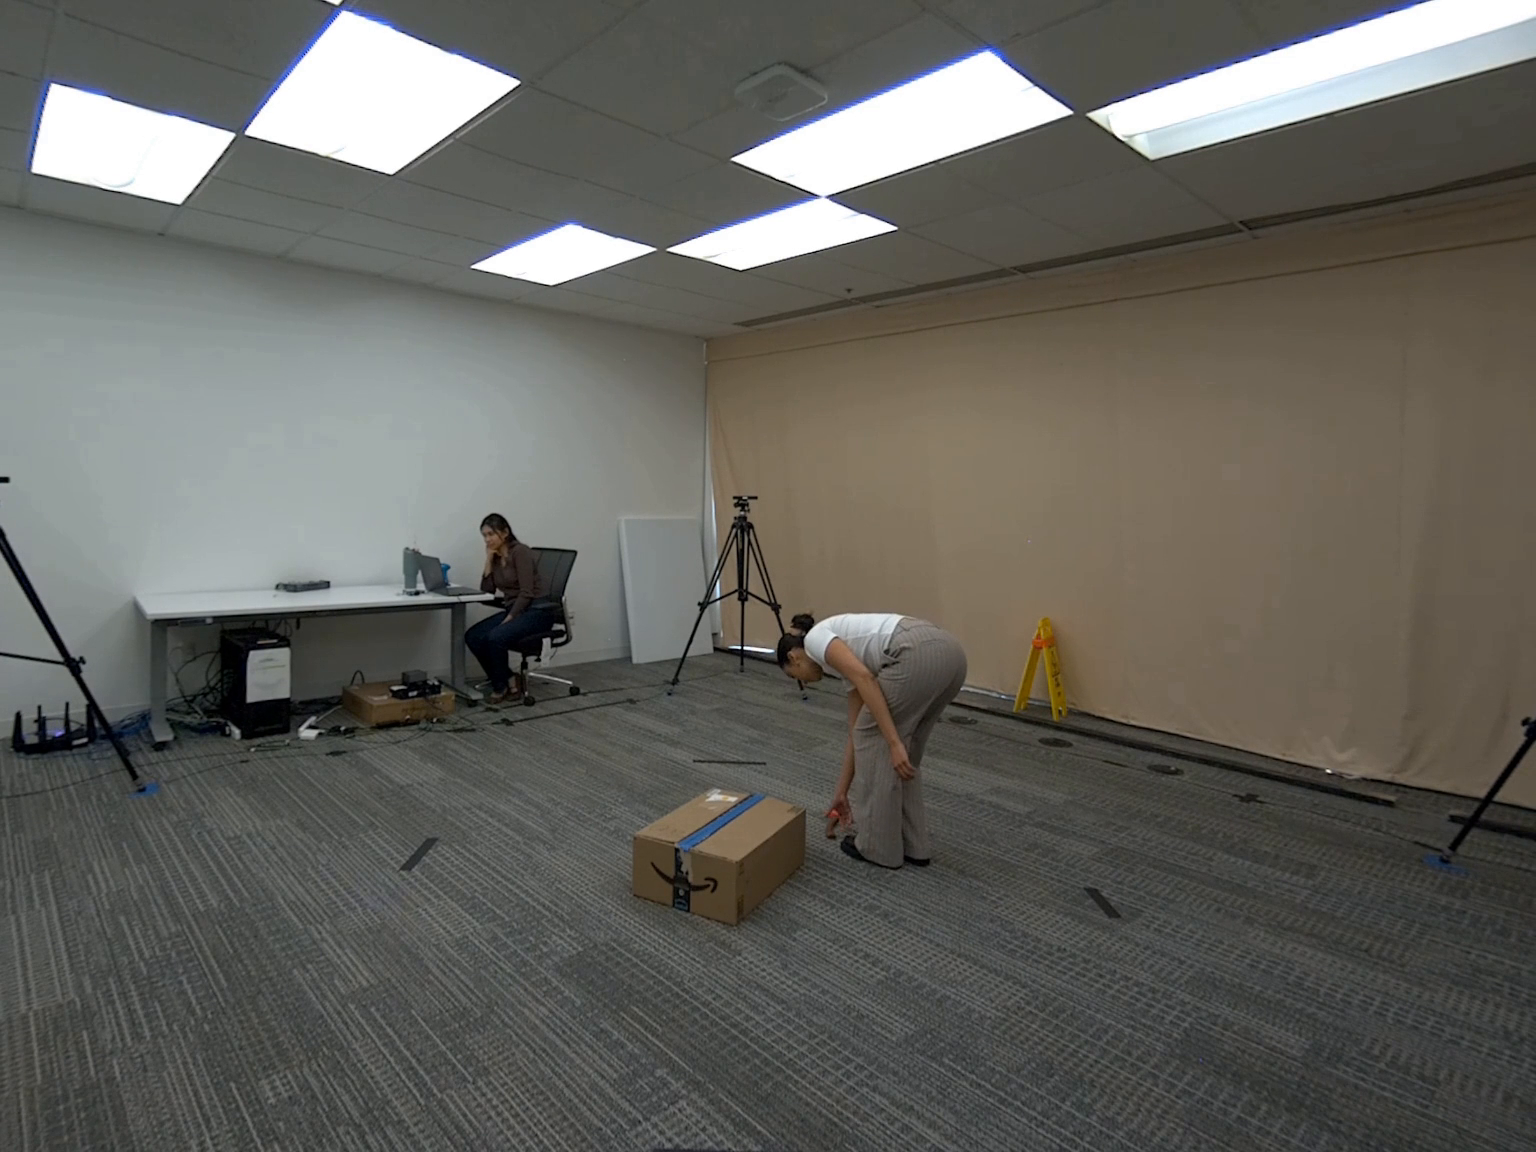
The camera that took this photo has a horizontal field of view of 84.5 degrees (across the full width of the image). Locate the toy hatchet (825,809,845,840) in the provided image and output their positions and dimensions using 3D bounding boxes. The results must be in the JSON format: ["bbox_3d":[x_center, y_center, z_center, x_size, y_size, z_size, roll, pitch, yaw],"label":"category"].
[{"bbox_3d":[0.300,1.063,3.583,0.131,0.029,0.270,4,8,2],"label":"toy hatchet"}]
